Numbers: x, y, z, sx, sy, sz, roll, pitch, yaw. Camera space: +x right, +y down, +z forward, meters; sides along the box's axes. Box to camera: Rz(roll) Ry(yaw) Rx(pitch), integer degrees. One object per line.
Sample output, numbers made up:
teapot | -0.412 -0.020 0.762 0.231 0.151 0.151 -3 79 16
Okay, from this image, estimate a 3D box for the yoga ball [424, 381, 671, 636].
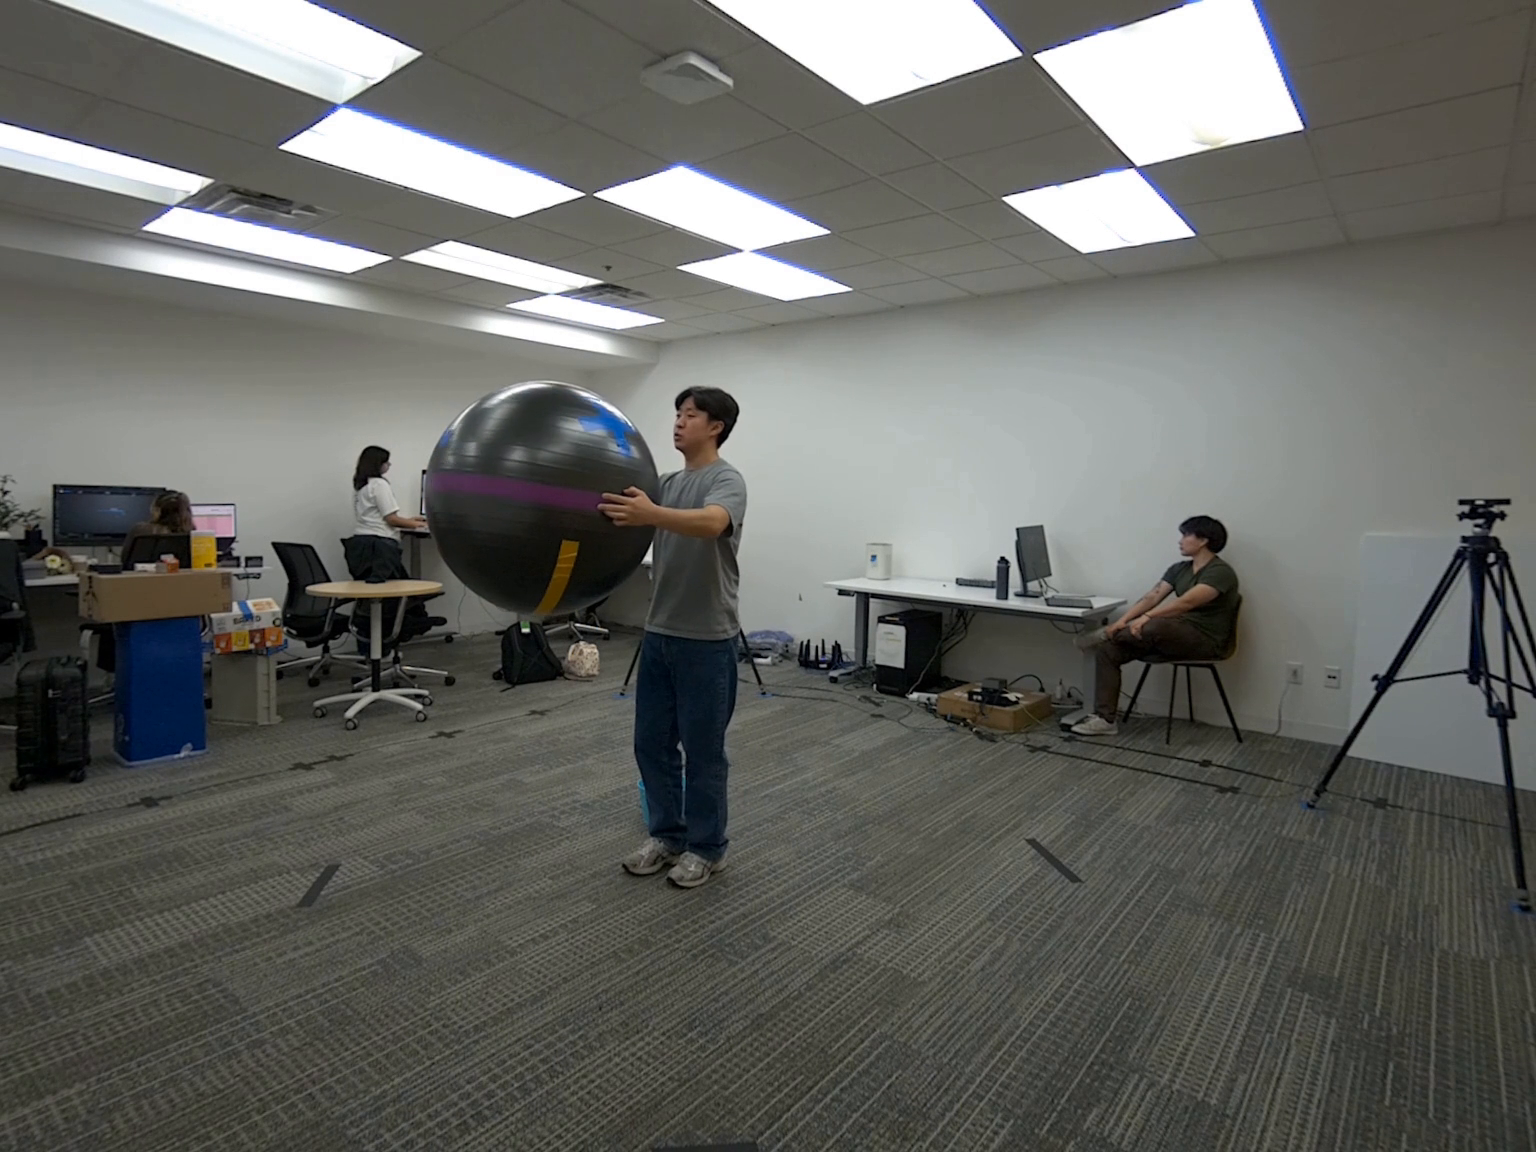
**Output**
yoga ball | -0.753 -0.246 2.782 0.757 0.756 0.761 1 4 -2
